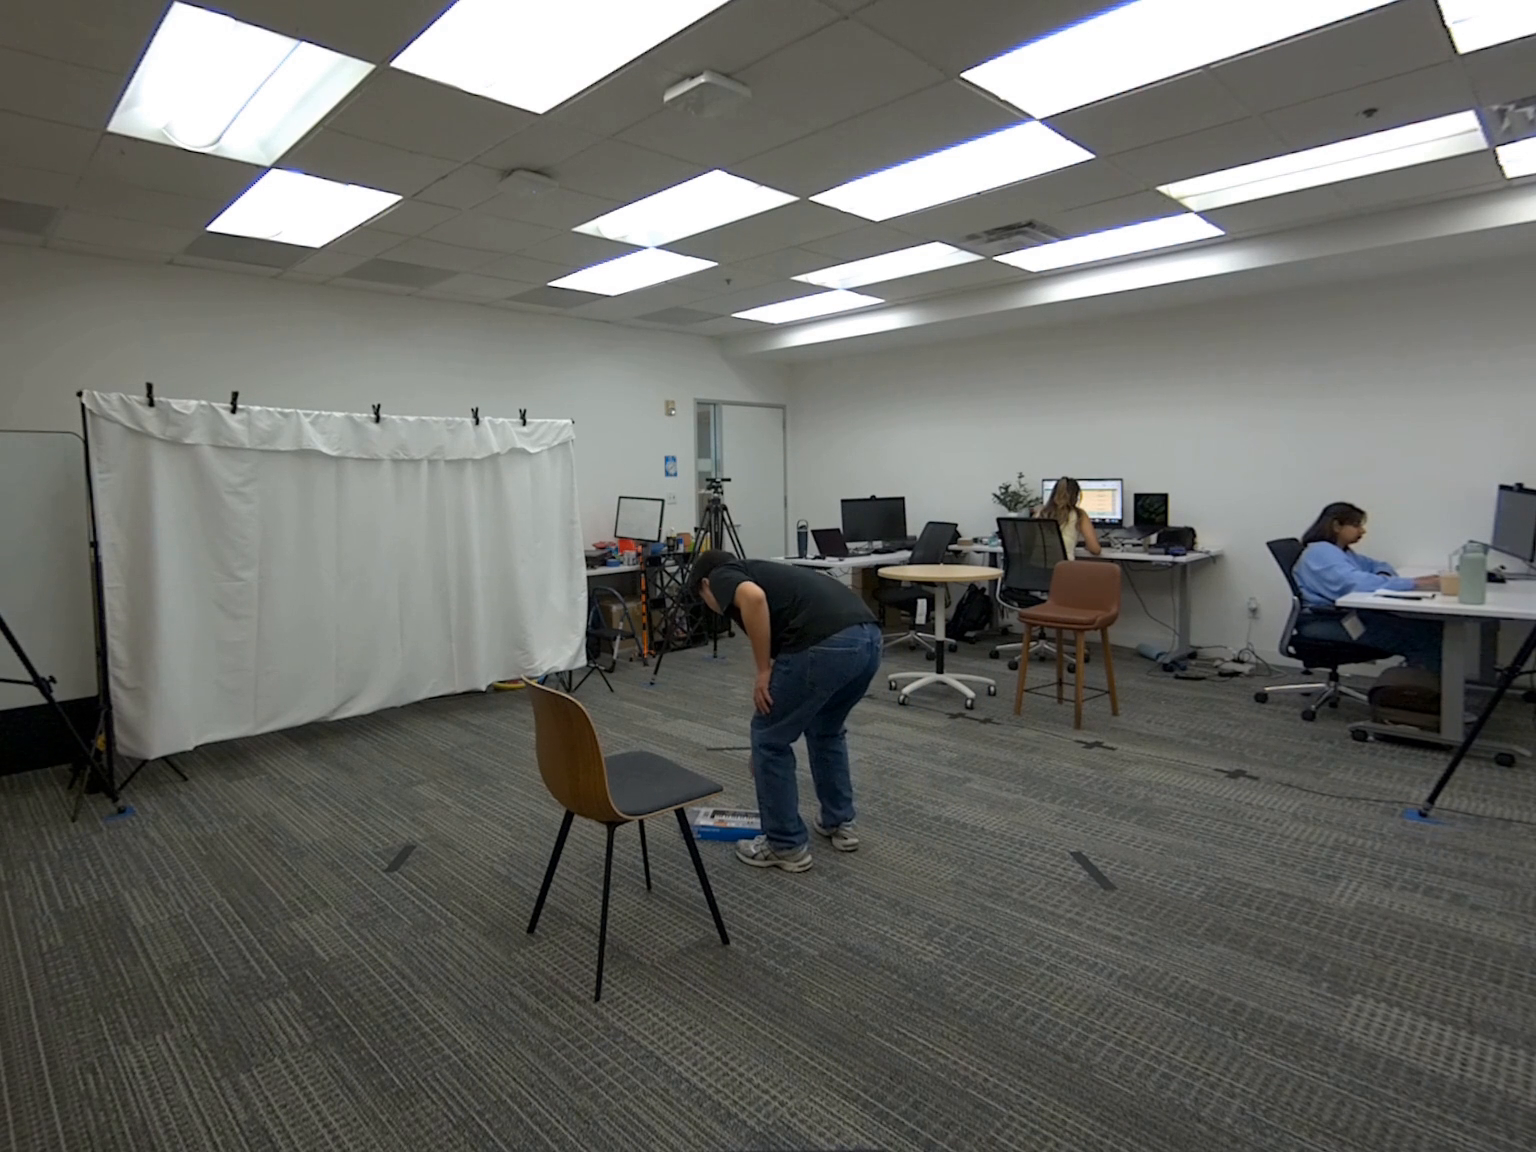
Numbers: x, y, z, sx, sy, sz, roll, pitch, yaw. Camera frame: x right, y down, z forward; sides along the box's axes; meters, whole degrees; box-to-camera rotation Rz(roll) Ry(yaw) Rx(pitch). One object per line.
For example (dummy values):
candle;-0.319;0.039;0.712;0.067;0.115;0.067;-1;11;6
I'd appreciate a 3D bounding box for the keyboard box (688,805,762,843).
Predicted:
keyboard box;-0.113;0.988;3.378;0.441;0.059;0.175;1;6;10
